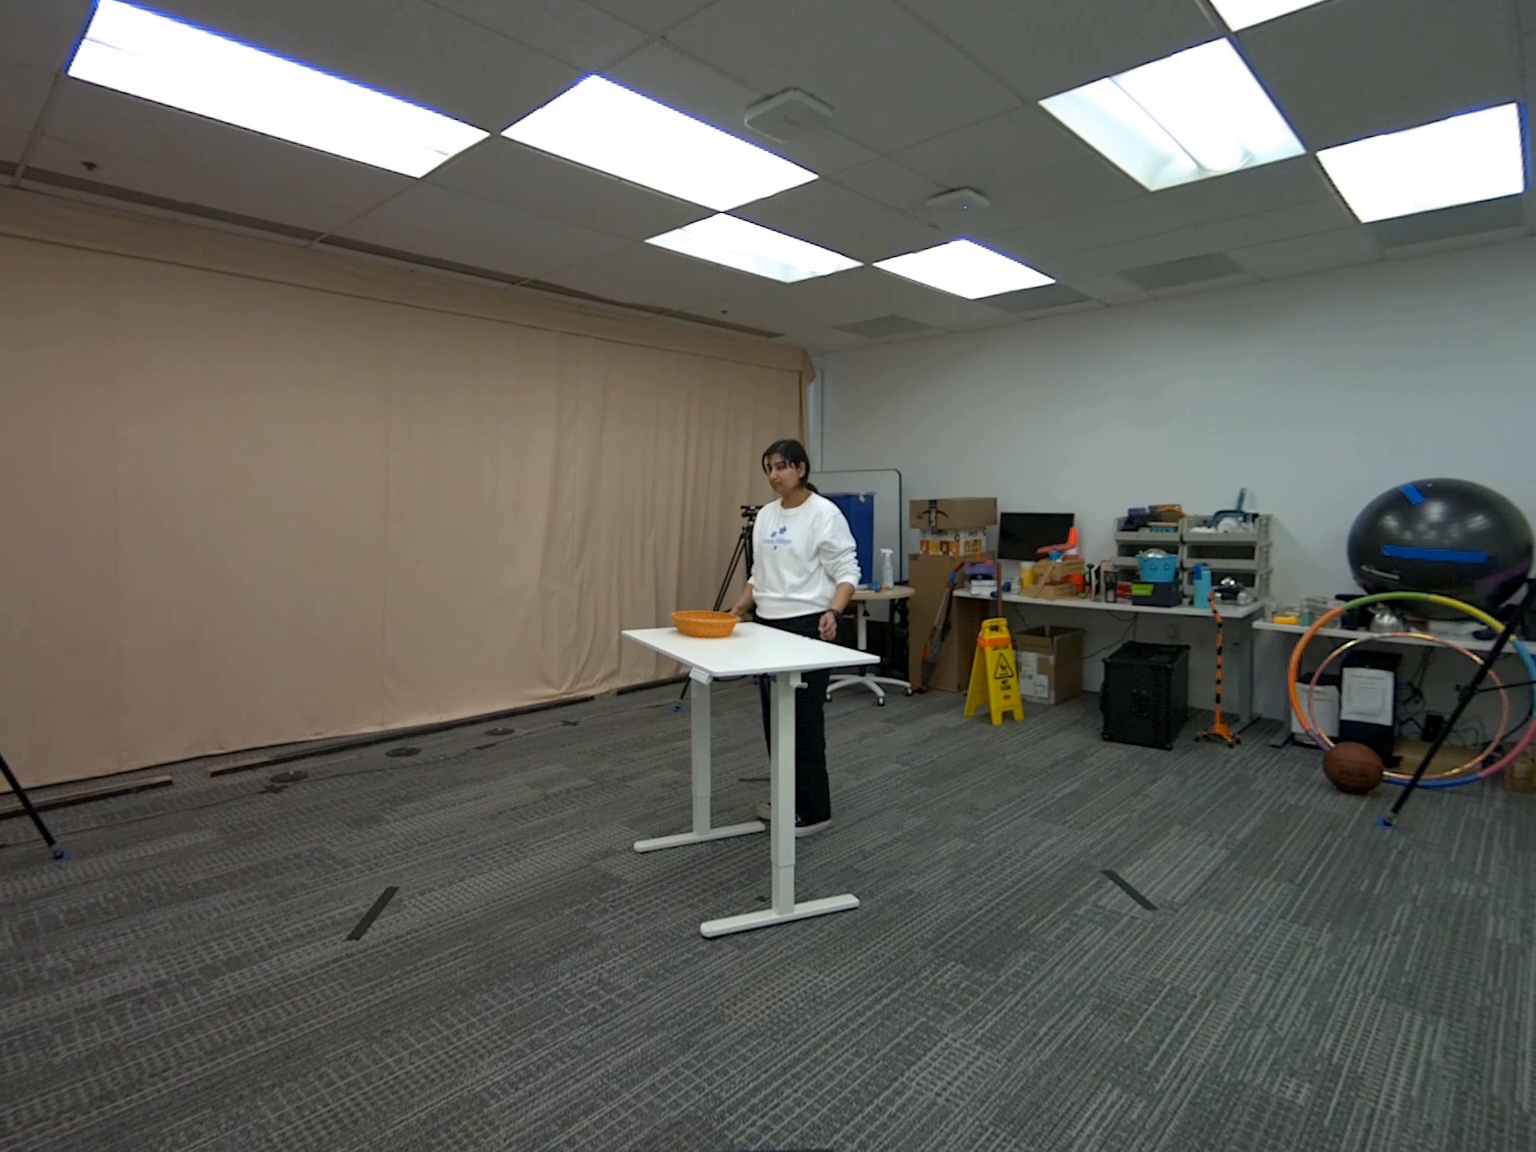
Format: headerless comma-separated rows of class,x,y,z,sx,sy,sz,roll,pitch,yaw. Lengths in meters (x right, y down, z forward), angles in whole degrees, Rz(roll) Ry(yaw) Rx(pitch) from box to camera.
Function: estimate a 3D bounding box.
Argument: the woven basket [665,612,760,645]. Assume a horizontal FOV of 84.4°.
woven basket,-0.230,0.204,3.384,0.246,0.073,0.360,-1,4,-27
